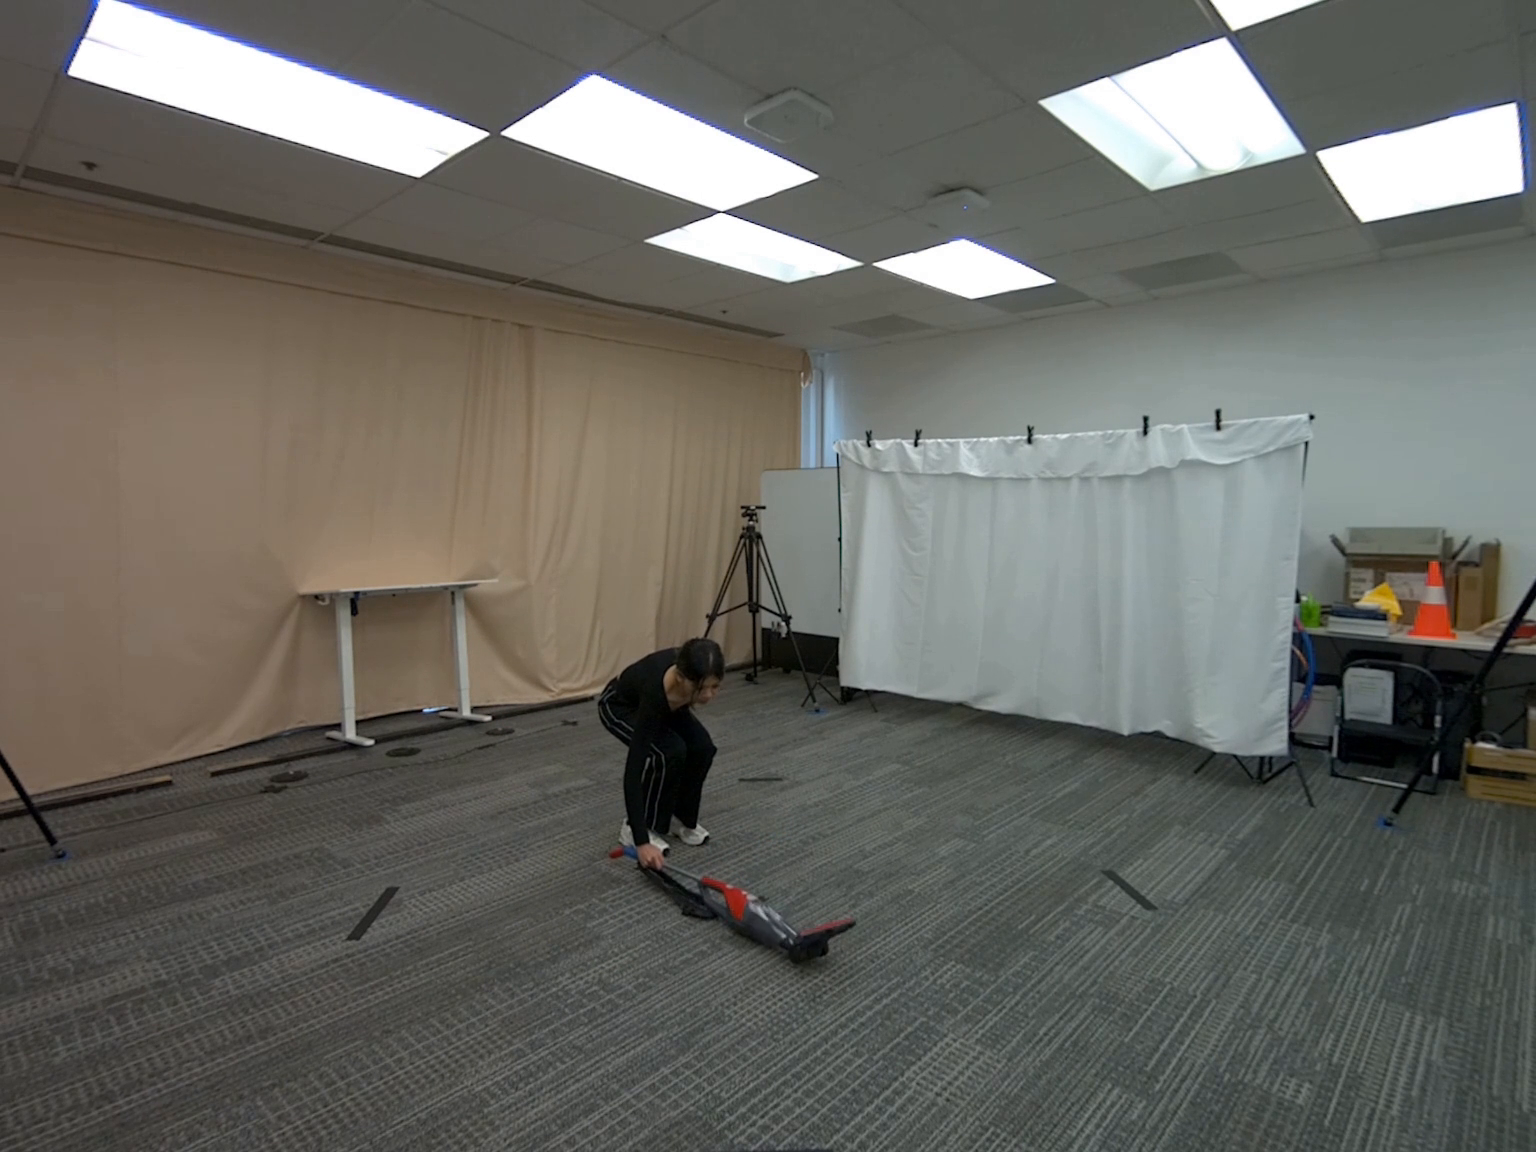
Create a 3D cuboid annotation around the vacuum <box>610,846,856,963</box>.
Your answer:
[{"bbox_3d":[-0.216,1.100,2.884,0.244,0.144,1.083,6,-4,-44],"label":"vacuum"}]
